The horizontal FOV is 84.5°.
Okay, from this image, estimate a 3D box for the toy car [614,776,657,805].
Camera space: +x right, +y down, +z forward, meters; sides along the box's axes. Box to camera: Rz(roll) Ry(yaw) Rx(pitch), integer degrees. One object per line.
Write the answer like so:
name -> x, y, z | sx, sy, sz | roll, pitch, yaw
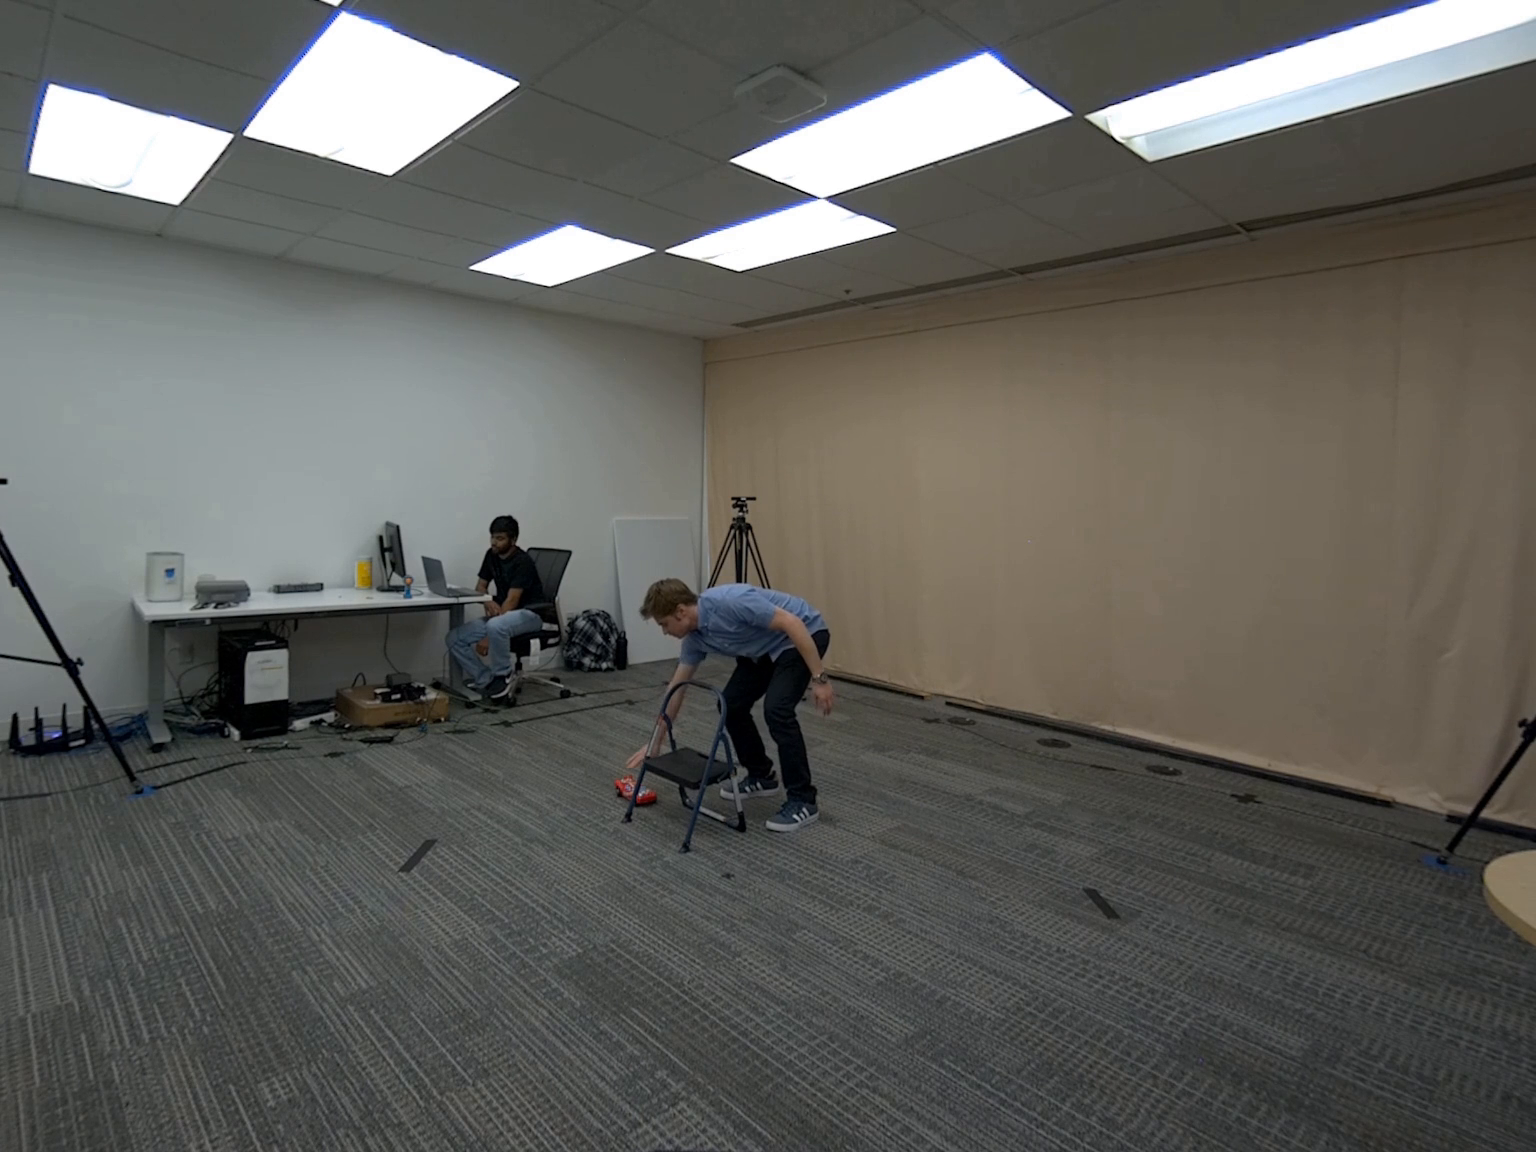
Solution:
toy car -> -0.623, 0.990, 3.890 | 0.127, 0.082, 0.262 | -1, 16, -36
